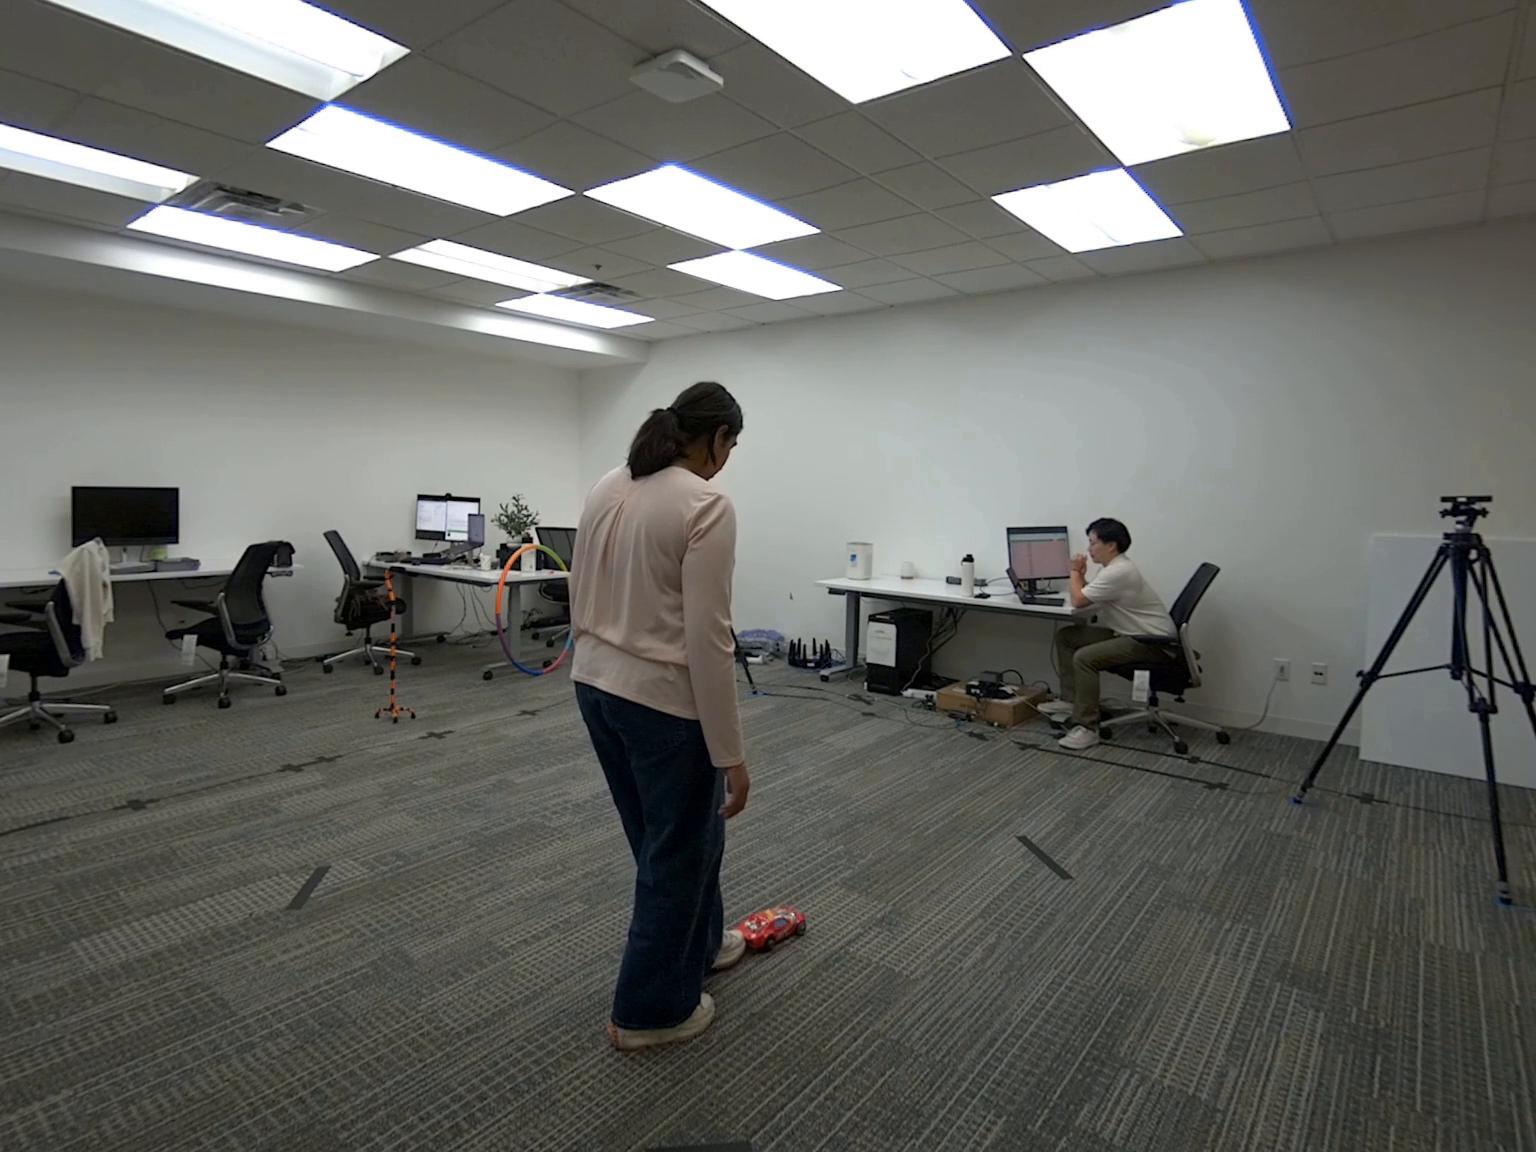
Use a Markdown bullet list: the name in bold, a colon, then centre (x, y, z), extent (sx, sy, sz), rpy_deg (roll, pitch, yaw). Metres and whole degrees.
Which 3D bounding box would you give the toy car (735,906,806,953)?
- **toy car**: centre (-0.005, 1.083, 2.629), extent (0.245, 0.083, 0.135), rpy_deg (12, -3, -44)
